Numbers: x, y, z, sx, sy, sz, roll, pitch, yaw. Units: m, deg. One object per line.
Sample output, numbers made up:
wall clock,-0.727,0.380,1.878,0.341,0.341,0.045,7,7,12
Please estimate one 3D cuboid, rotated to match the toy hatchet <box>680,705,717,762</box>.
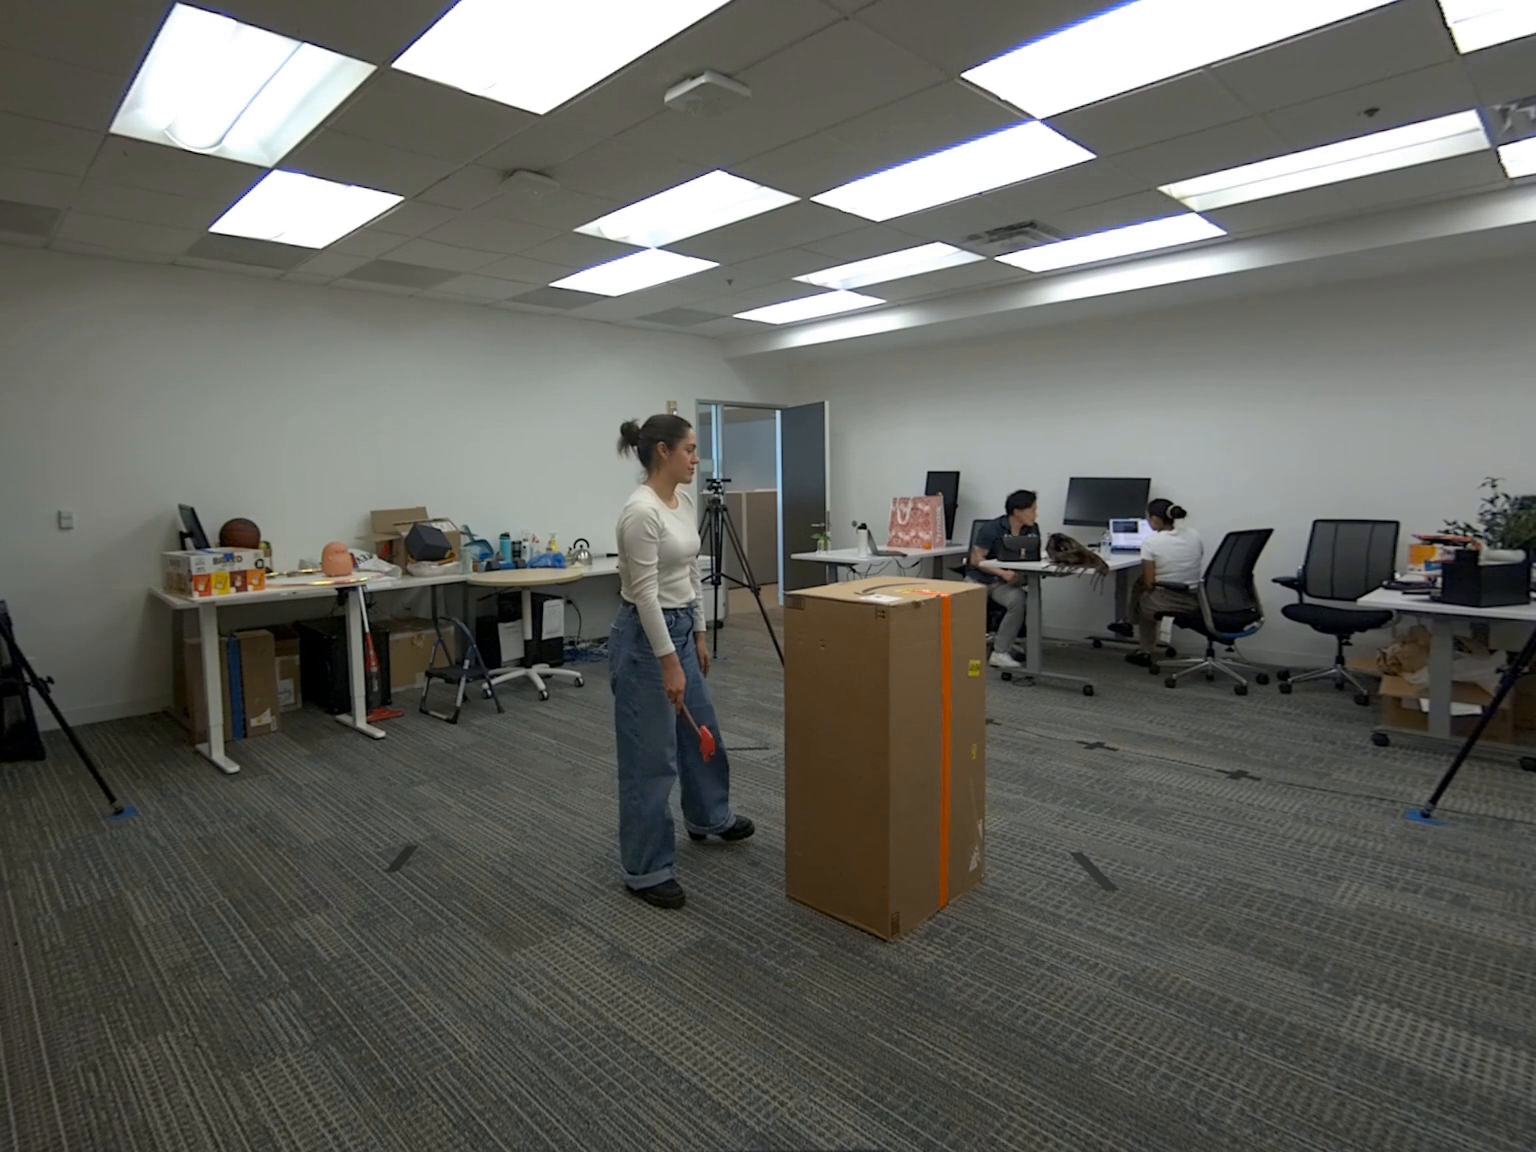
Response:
toy hatchet,-0.222,0.448,2.668,0.029,0.278,0.130,-17,-26,-31
